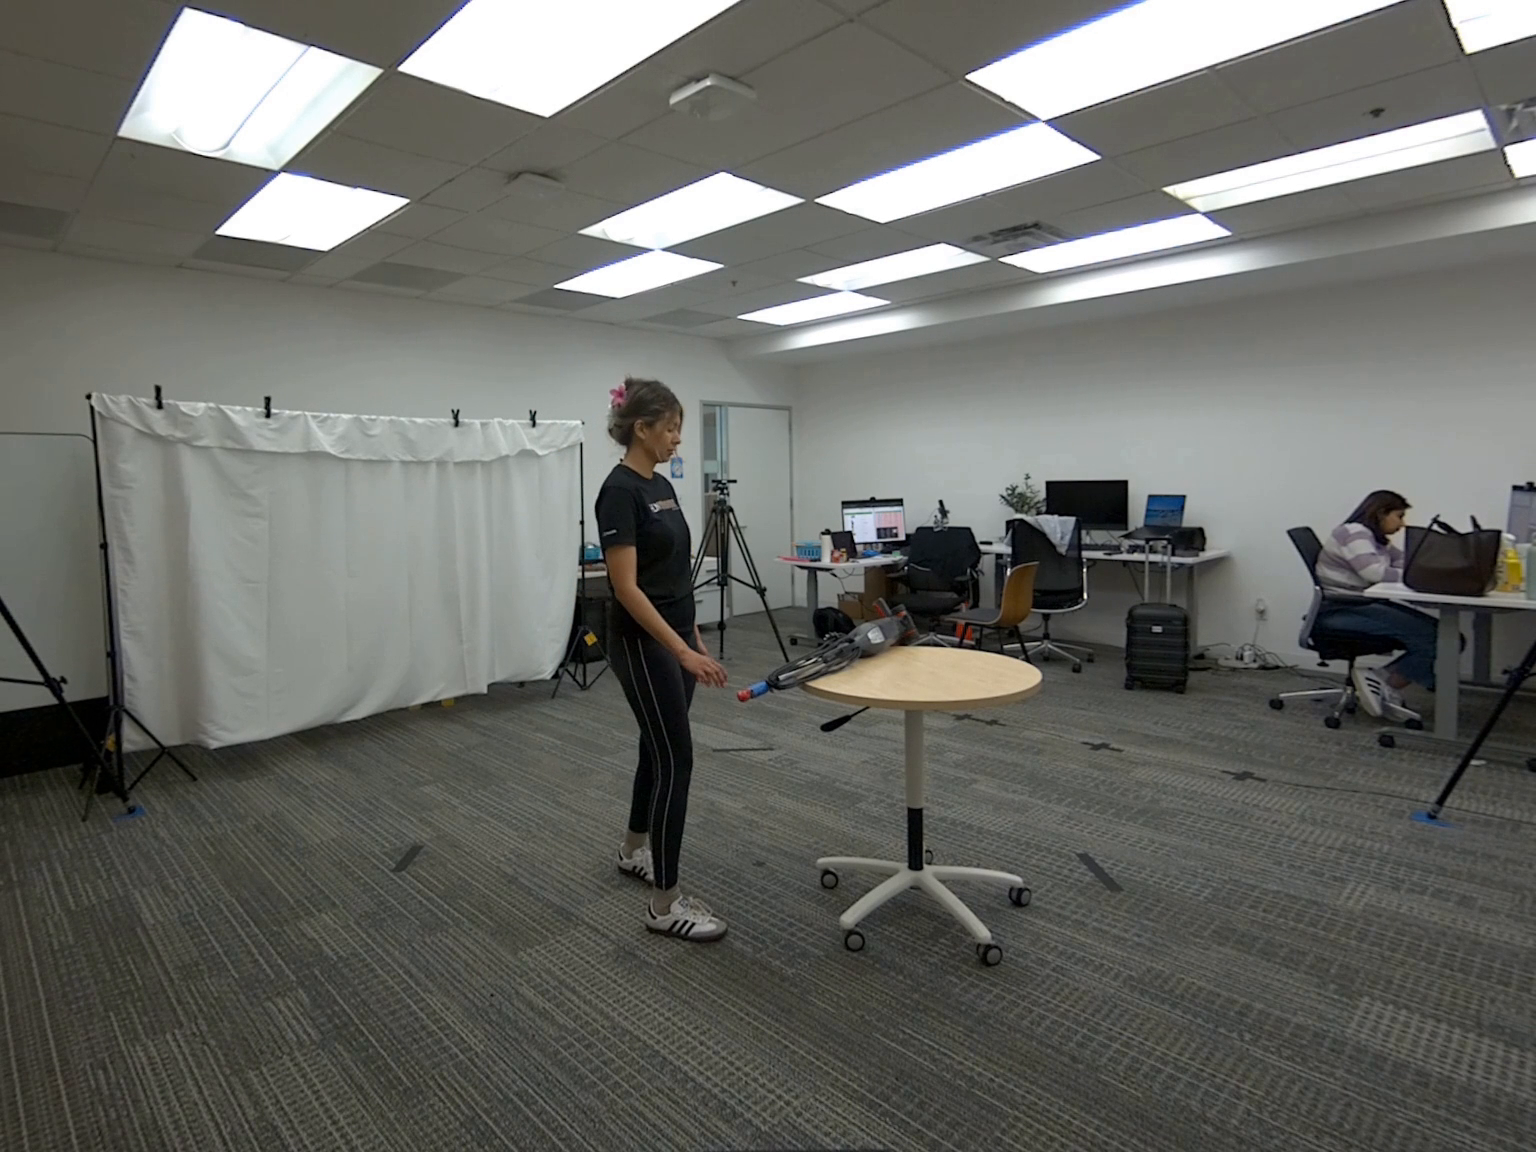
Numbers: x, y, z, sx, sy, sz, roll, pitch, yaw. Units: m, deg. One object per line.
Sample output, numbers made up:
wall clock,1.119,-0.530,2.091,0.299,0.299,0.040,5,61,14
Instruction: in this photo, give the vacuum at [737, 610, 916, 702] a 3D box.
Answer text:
vacuum,0.216,0.270,2.780,0.145,0.256,1.026,-35,-12,33
